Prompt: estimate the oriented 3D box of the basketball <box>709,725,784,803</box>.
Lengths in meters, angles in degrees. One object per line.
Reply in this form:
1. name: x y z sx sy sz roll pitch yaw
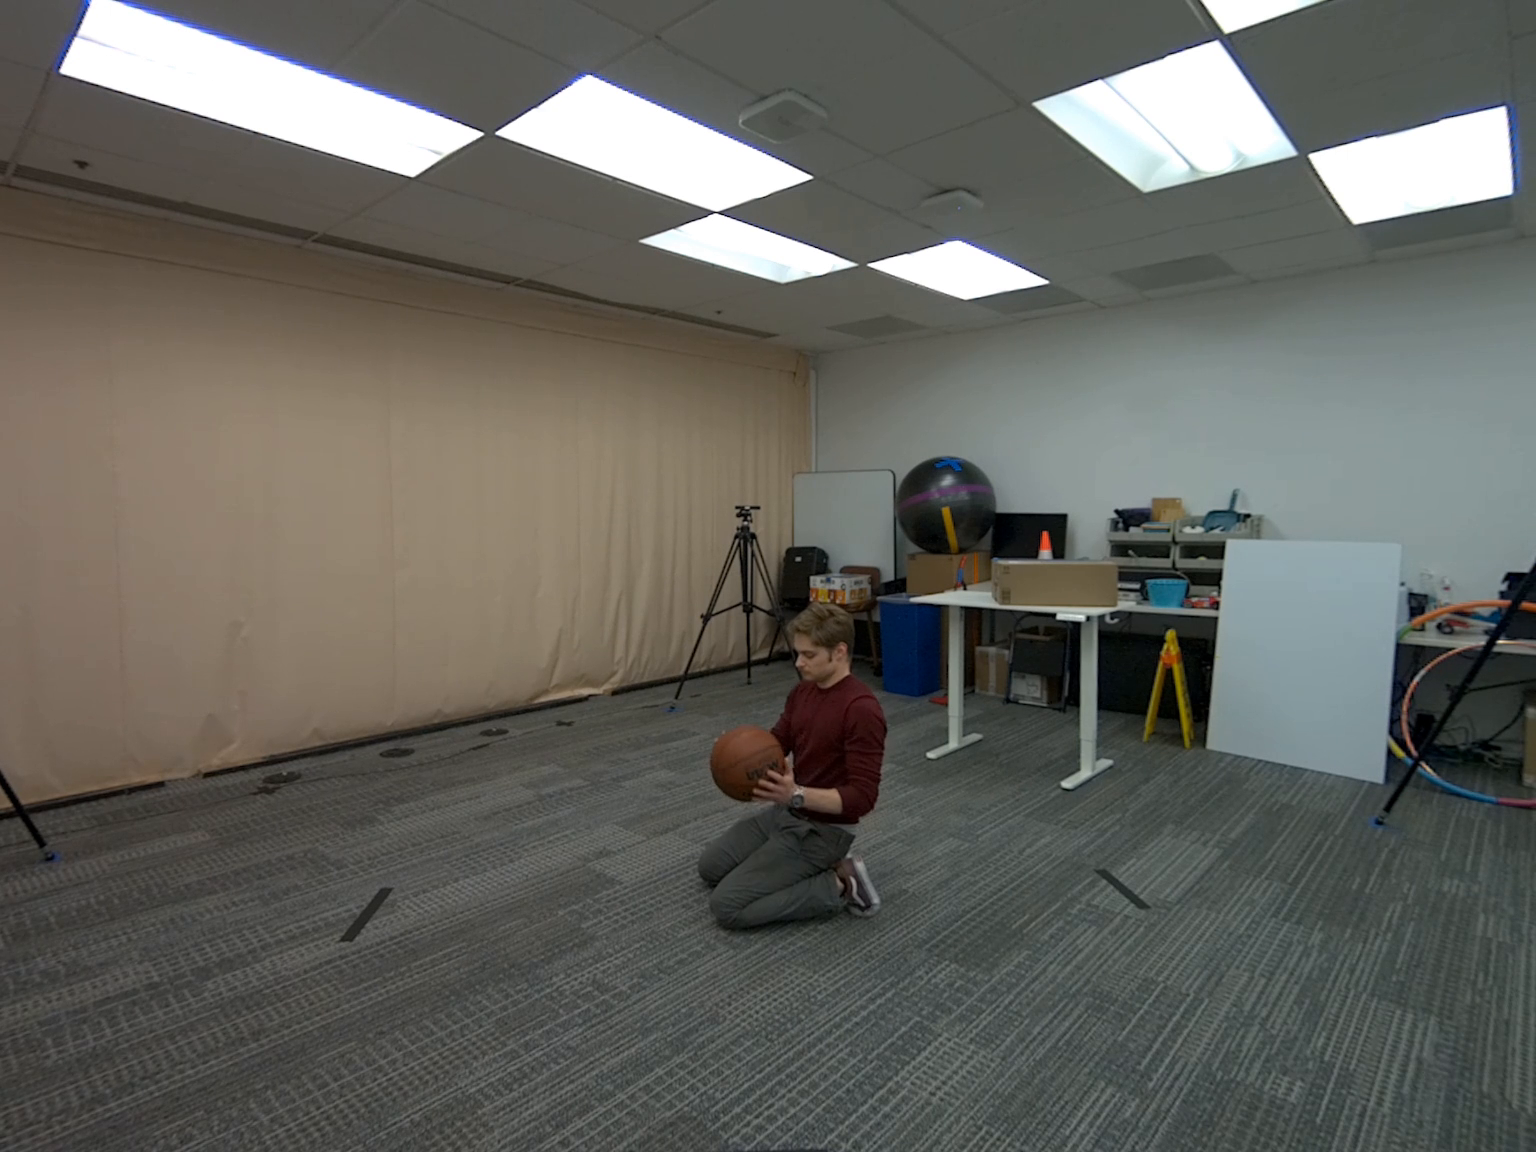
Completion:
1. basketball: -0.055 0.603 2.695 0.236 0.235 0.237 0 4 -2
